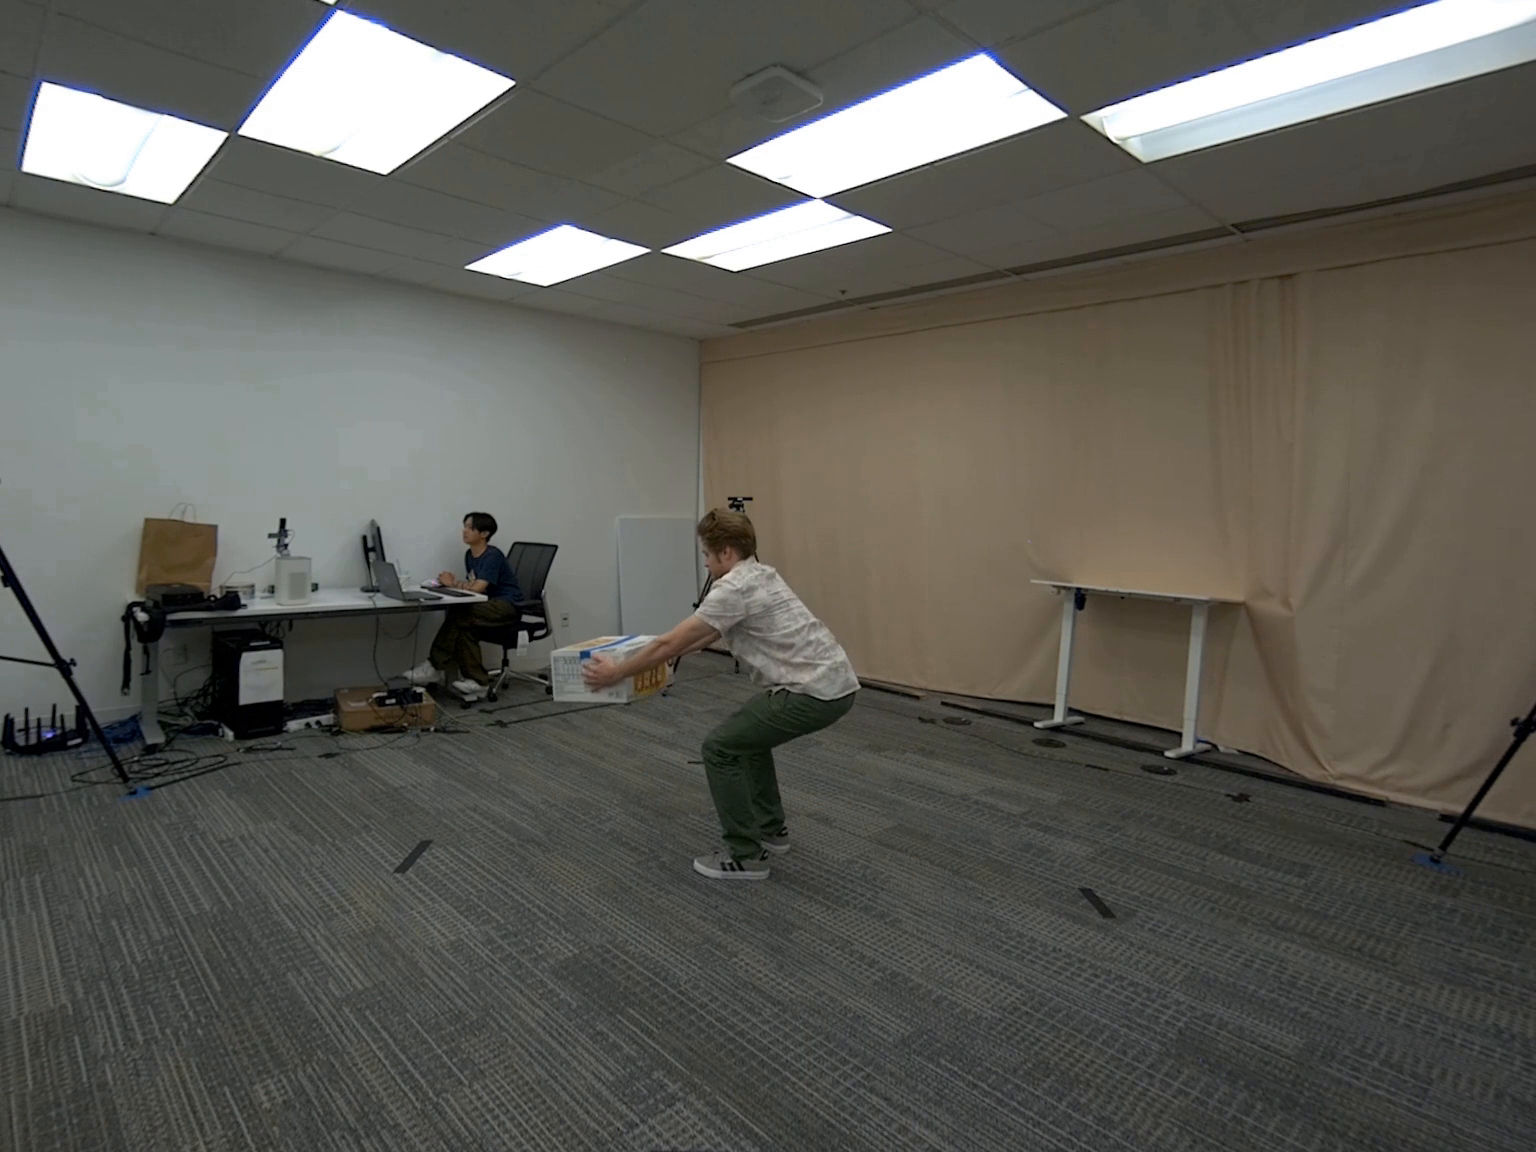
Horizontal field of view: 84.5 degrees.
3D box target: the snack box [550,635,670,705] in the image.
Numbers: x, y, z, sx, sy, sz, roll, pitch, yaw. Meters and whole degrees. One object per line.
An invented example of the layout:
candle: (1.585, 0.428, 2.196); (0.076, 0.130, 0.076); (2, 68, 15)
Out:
snack box: (-0.636, 0.377, 3.477); (0.346, 0.205, 0.399); (-3, 3, 21)
